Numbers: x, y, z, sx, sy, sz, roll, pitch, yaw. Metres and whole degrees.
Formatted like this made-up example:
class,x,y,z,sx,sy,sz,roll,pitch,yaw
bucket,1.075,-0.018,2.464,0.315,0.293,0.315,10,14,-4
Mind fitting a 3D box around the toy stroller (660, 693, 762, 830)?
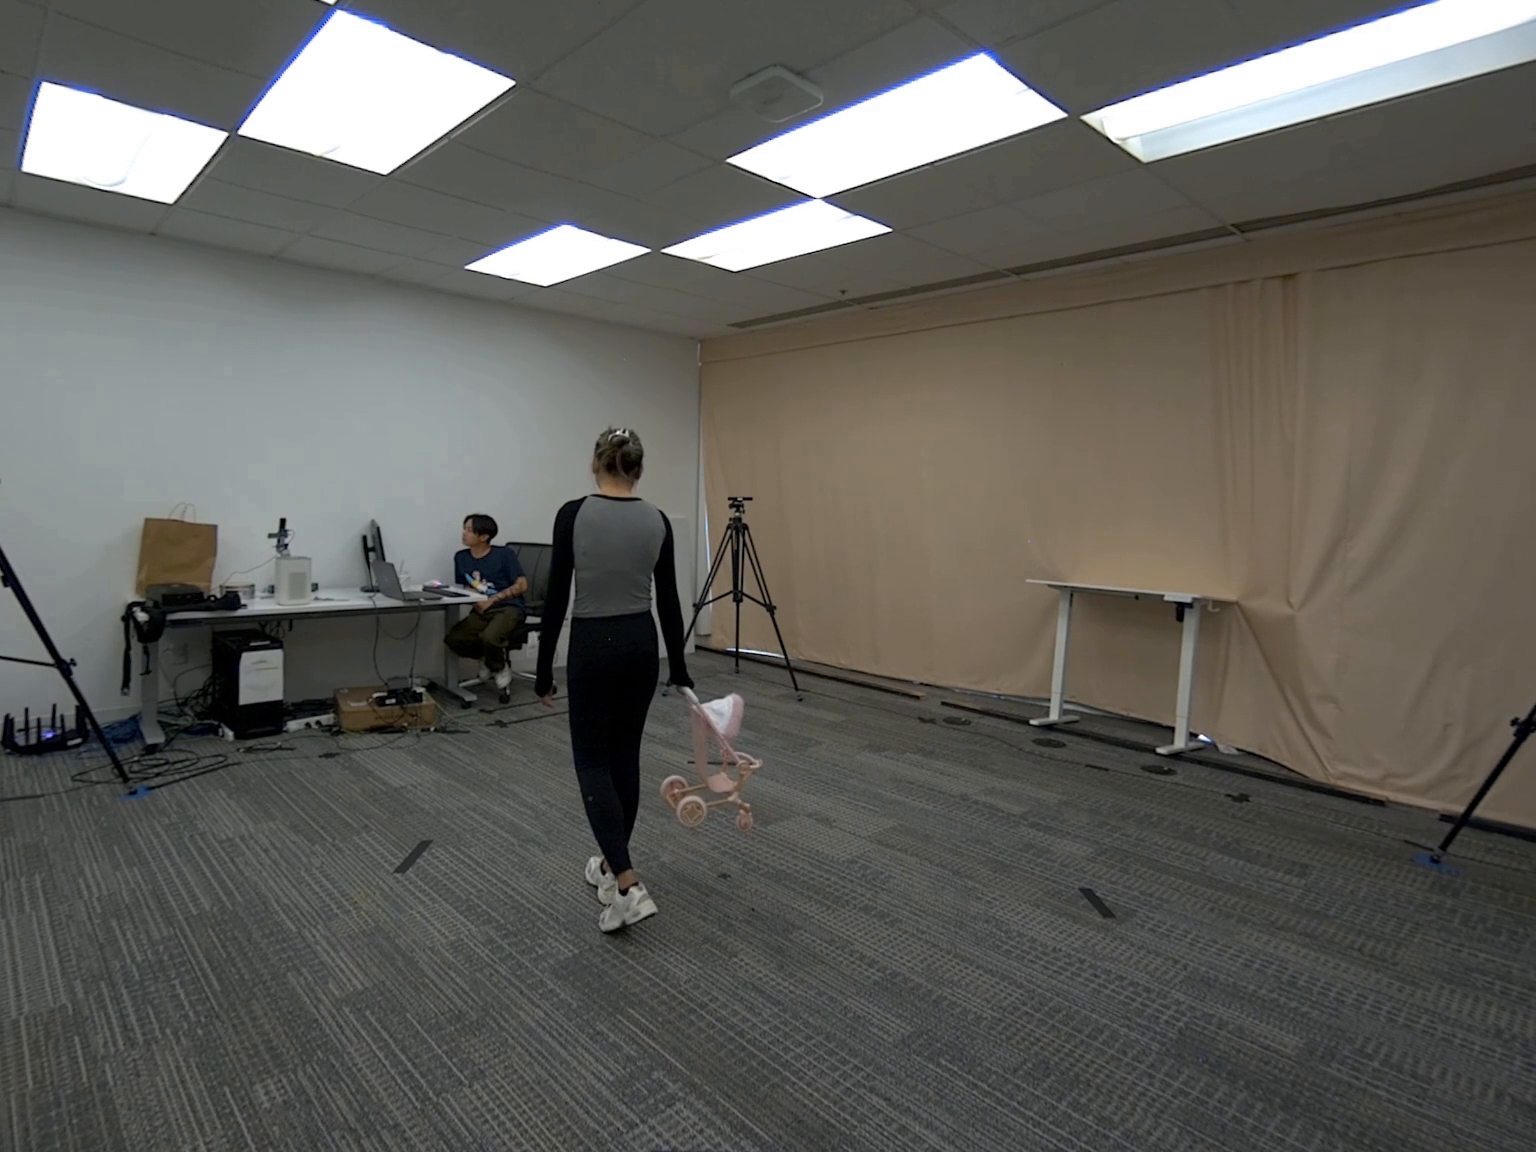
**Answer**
class,x,y,z,sx,sy,sz,roll,pitch,yaw
toy stroller,-0.195,0.660,3.046,0.337,0.535,0.284,5,-1,-14
